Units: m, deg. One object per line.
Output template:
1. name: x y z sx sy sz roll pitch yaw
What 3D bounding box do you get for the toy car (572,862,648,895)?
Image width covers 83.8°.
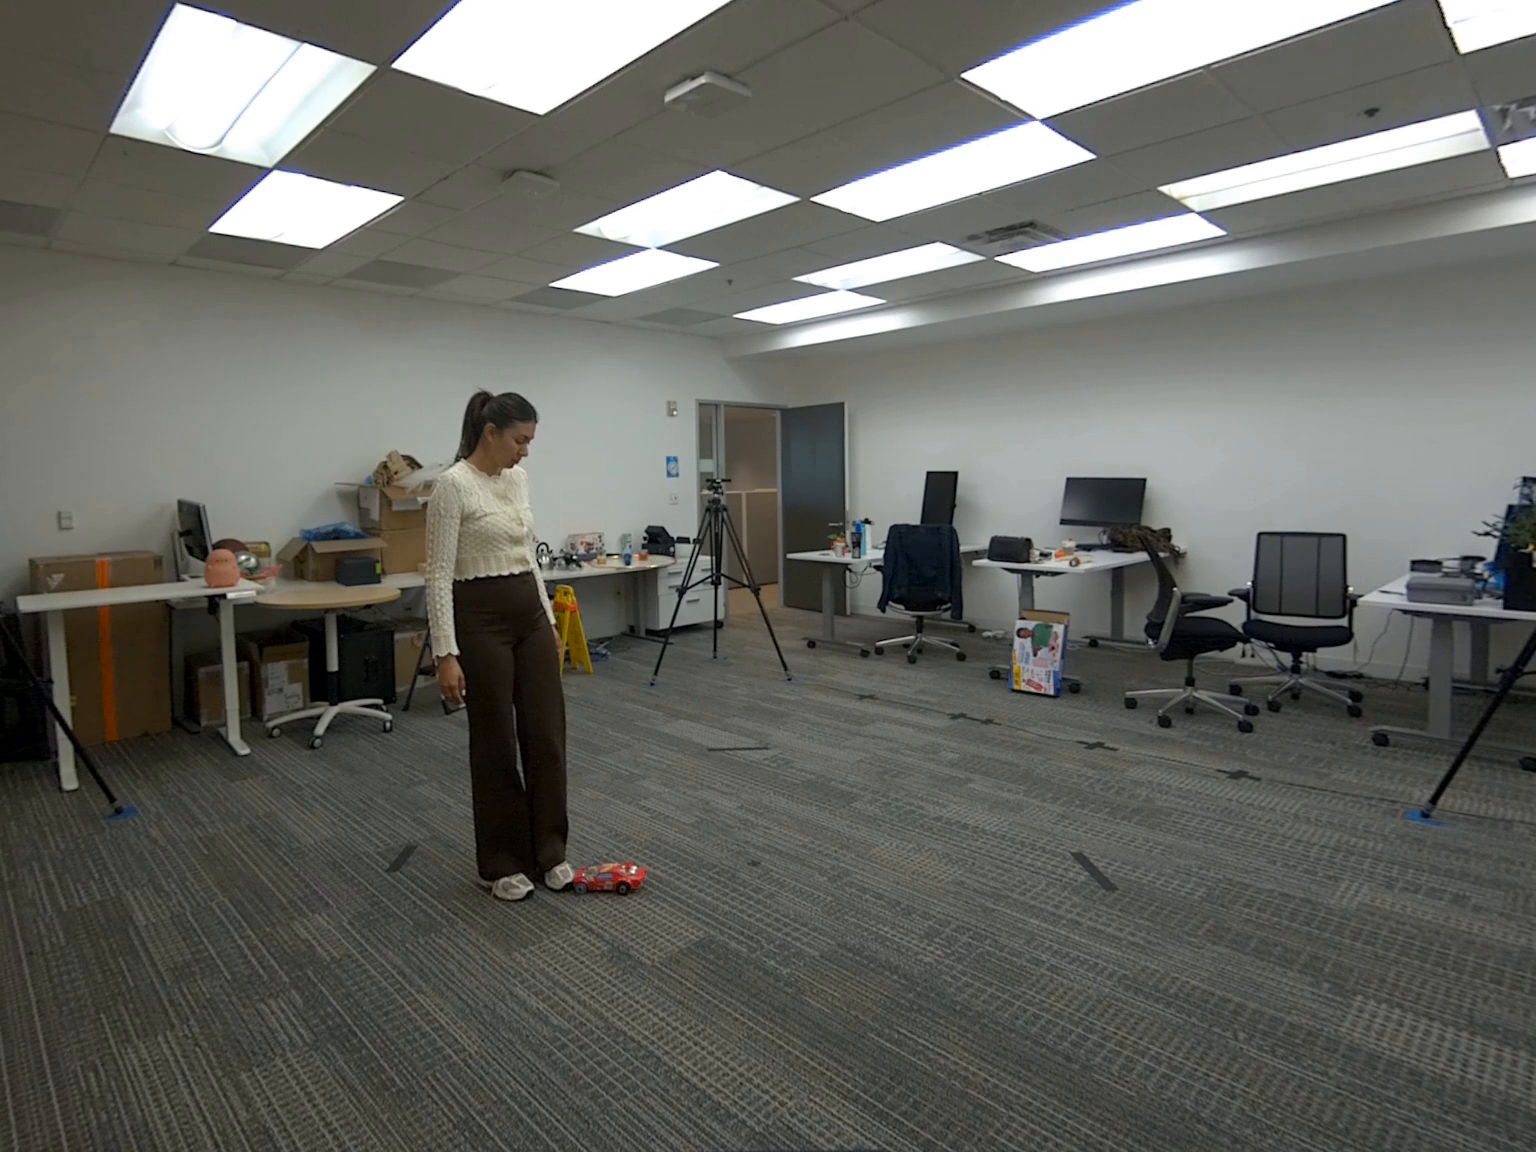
1. toy car: -0.530 1.036 2.930 0.255 0.083 0.130 -12 6 4
